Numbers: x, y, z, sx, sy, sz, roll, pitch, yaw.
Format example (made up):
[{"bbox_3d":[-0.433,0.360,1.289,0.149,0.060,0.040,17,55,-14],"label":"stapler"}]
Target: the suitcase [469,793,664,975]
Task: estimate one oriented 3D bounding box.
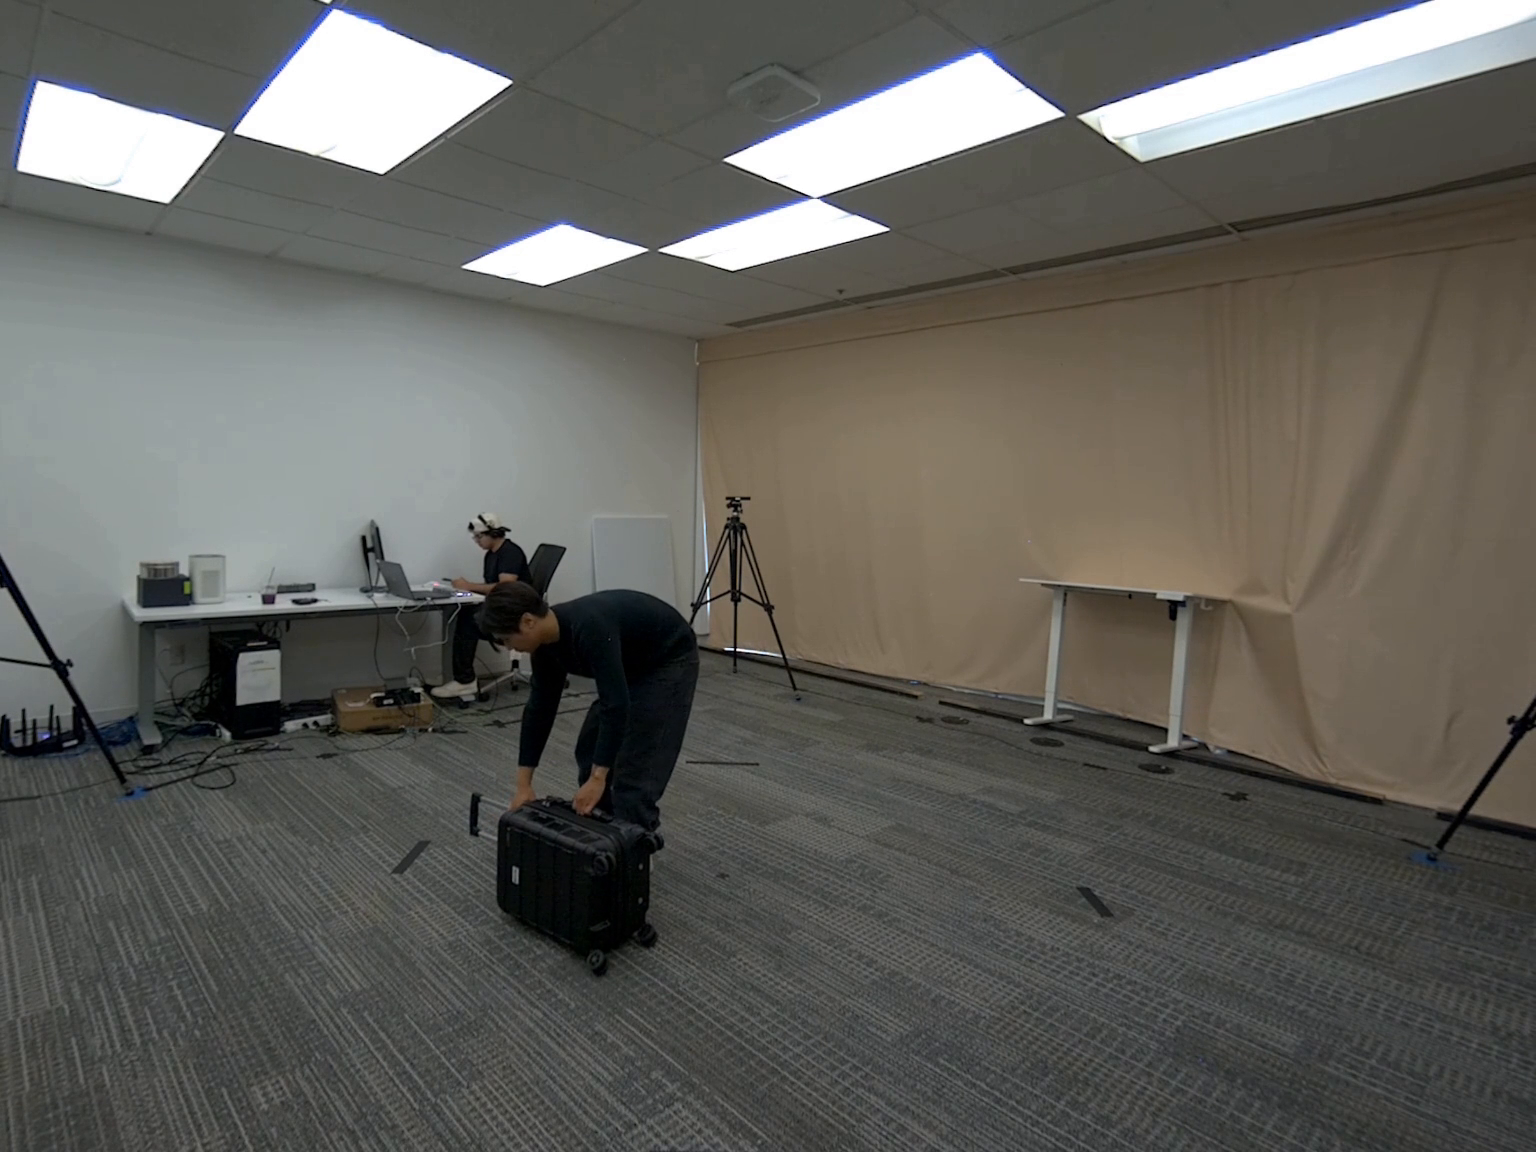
[{"bbox_3d":[-0.801,0.938,2.810,1.003,0.383,0.251,5,4,38],"label":"suitcase"}]
